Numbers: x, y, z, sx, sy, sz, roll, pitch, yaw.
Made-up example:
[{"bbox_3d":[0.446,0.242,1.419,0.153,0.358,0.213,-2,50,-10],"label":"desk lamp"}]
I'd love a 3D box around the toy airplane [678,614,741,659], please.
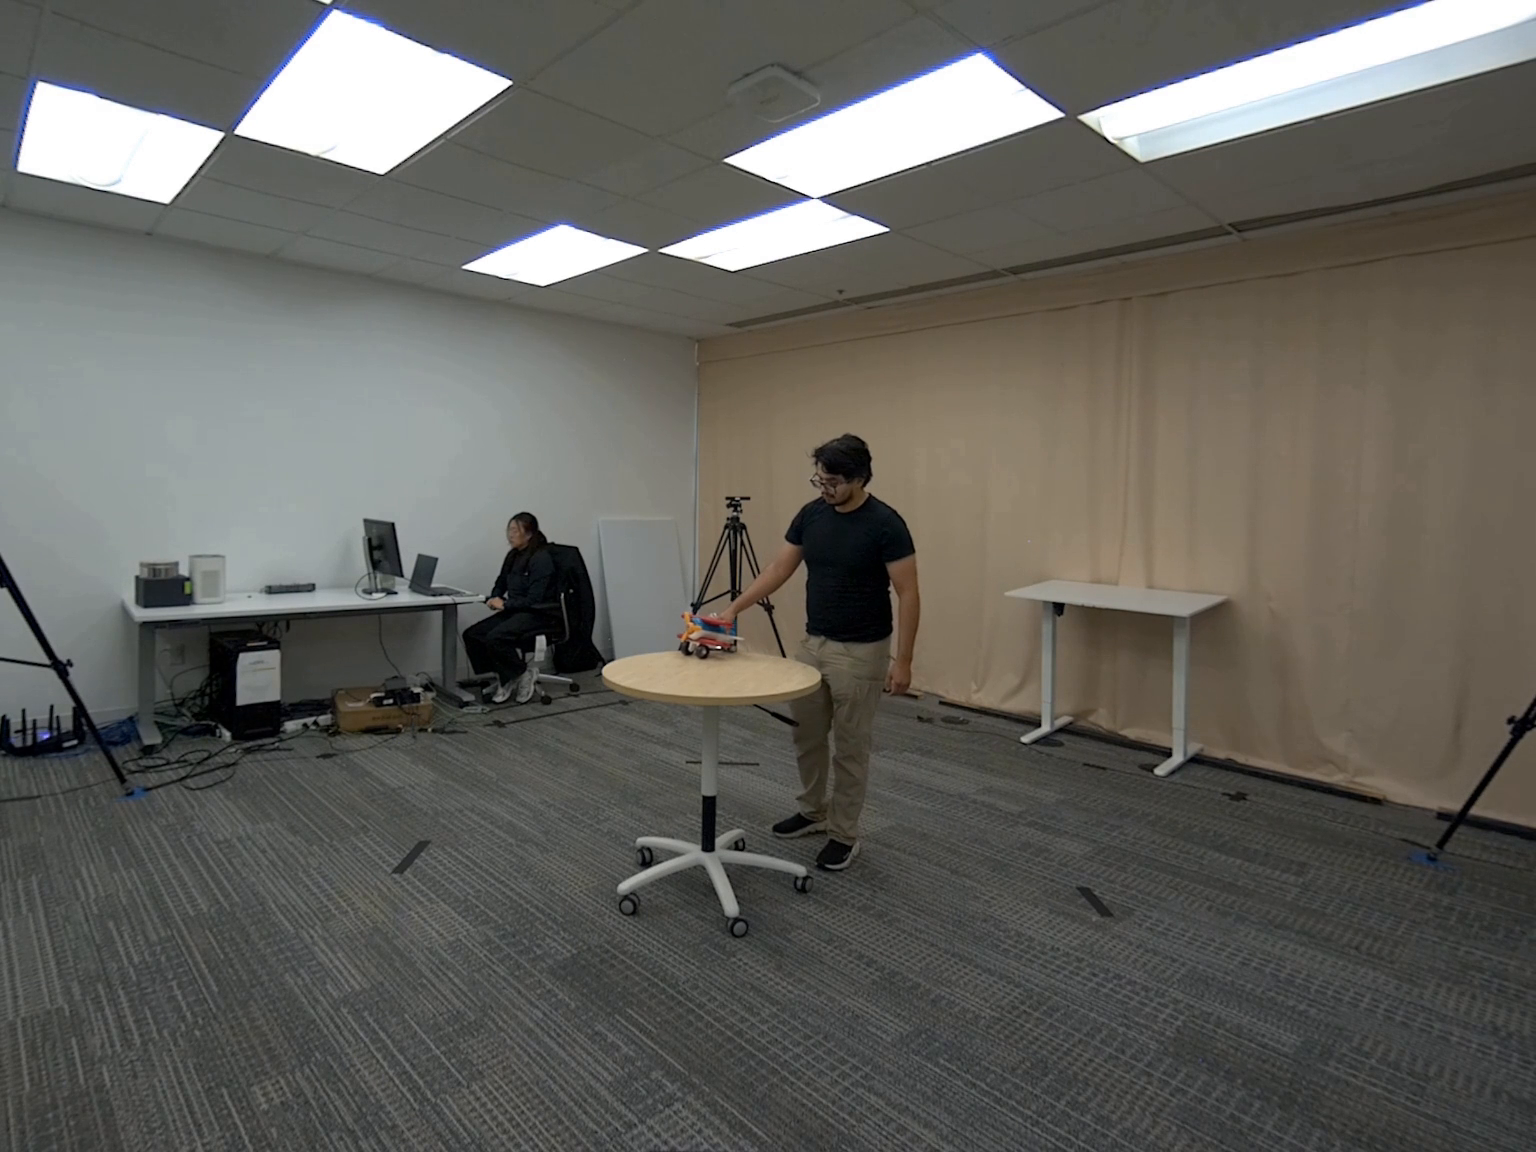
[{"bbox_3d":[-0.234,0.229,3.263,0.255,0.156,0.256,4,6,16],"label":"toy airplane"}]
